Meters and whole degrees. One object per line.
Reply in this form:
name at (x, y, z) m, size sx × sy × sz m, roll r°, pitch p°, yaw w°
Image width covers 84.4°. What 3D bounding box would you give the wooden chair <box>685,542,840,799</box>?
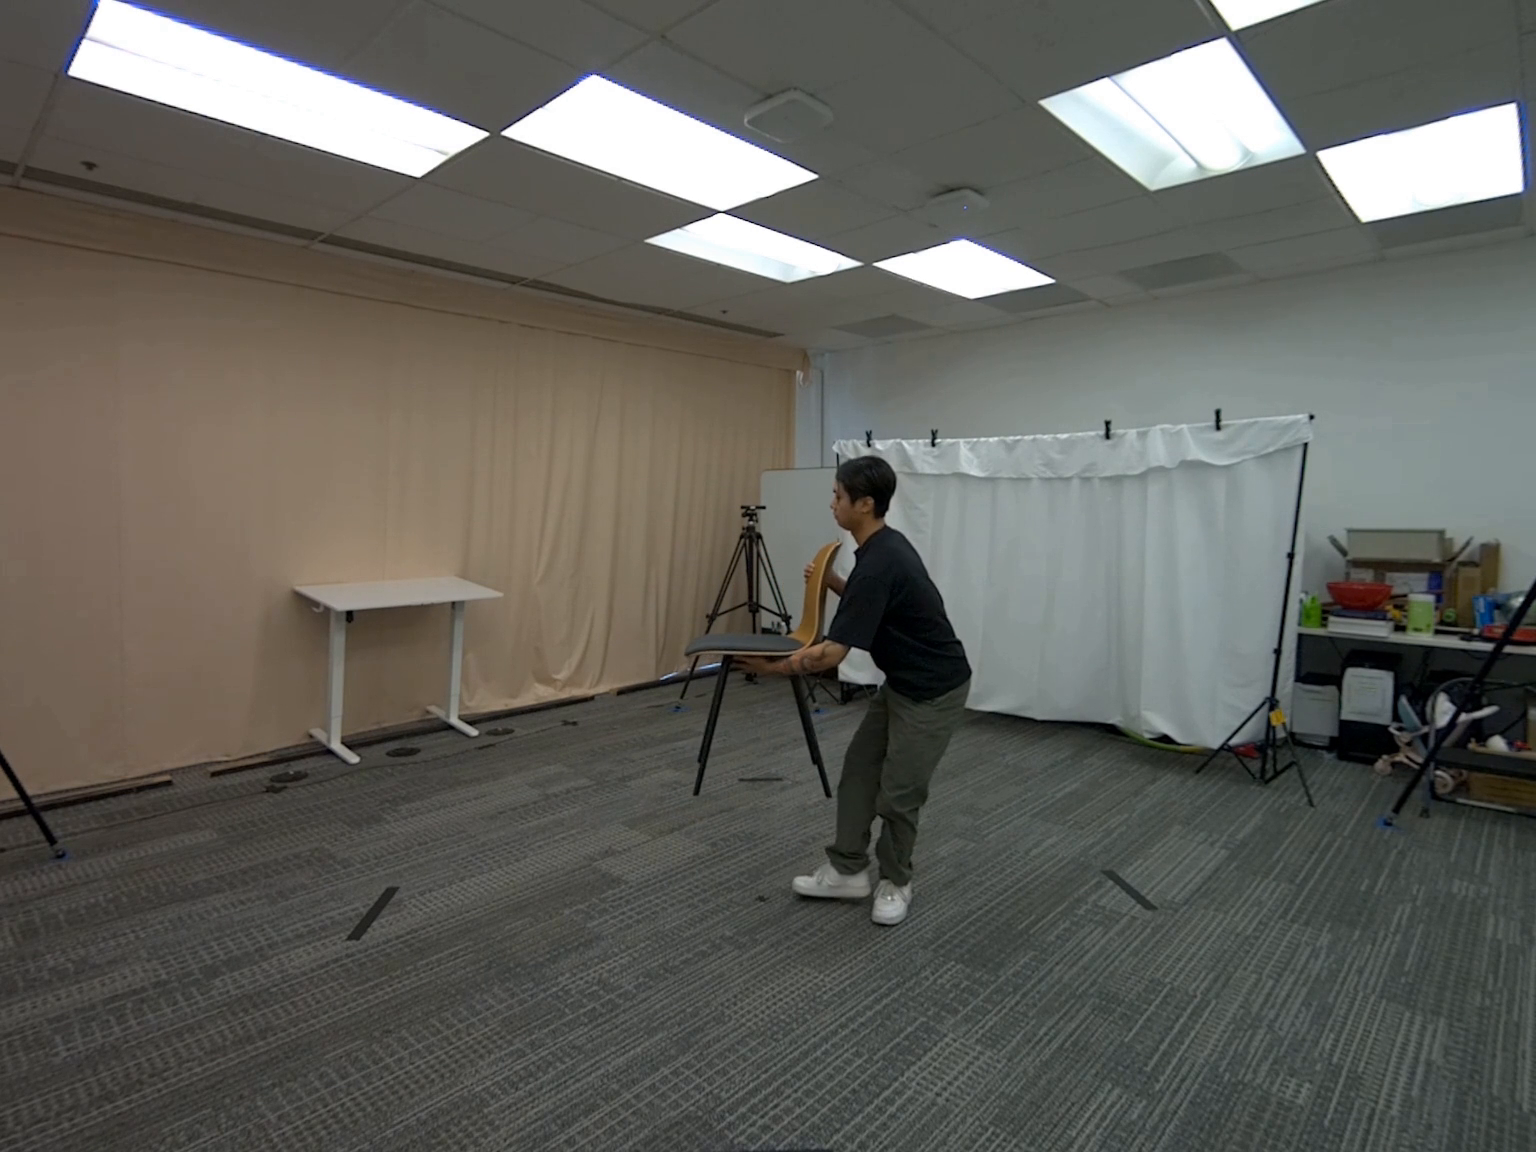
wooden chair at (-0.032, 0.301, 2.970) m, size 0.522 × 0.877 × 0.479 m, roll 4°, pitch 0°, yaw -3°
